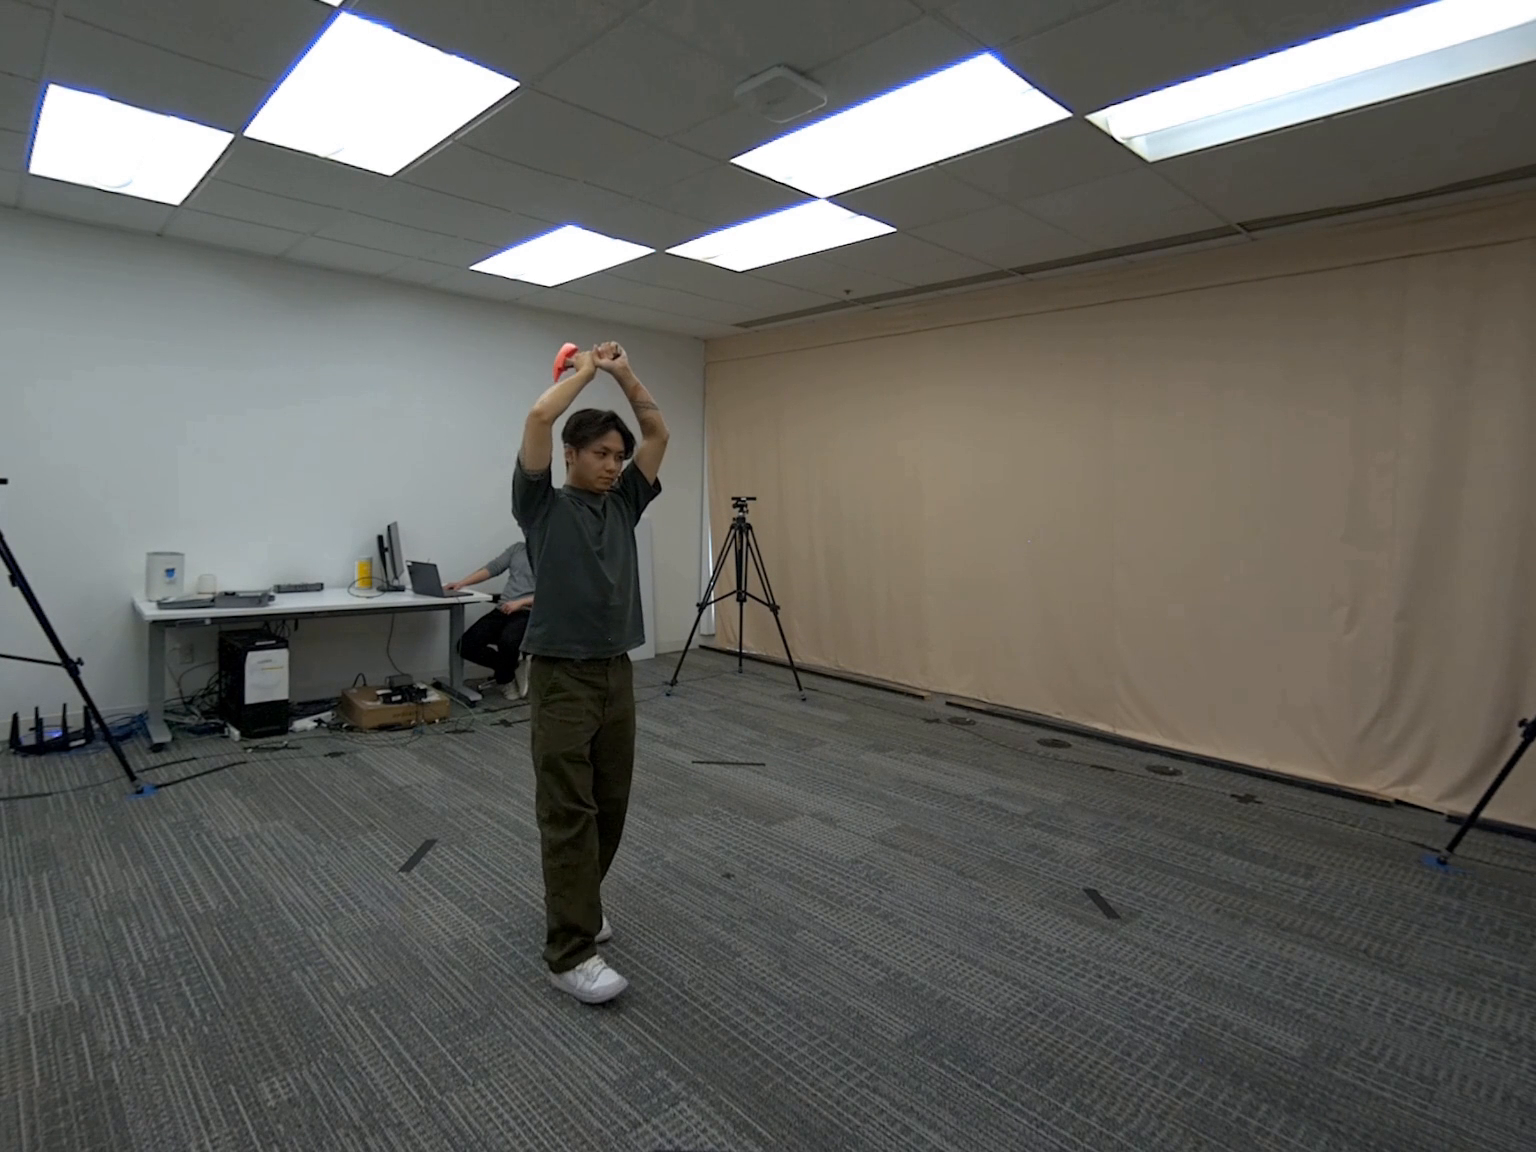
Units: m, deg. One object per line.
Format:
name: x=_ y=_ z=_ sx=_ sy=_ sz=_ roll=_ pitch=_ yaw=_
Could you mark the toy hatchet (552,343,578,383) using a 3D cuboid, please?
toy hatchet: x=-0.577 y=-0.698 z=2.613 sx=0.274 sy=0.133 sz=0.029 roll=-15 pitch=-25 yaw=33
